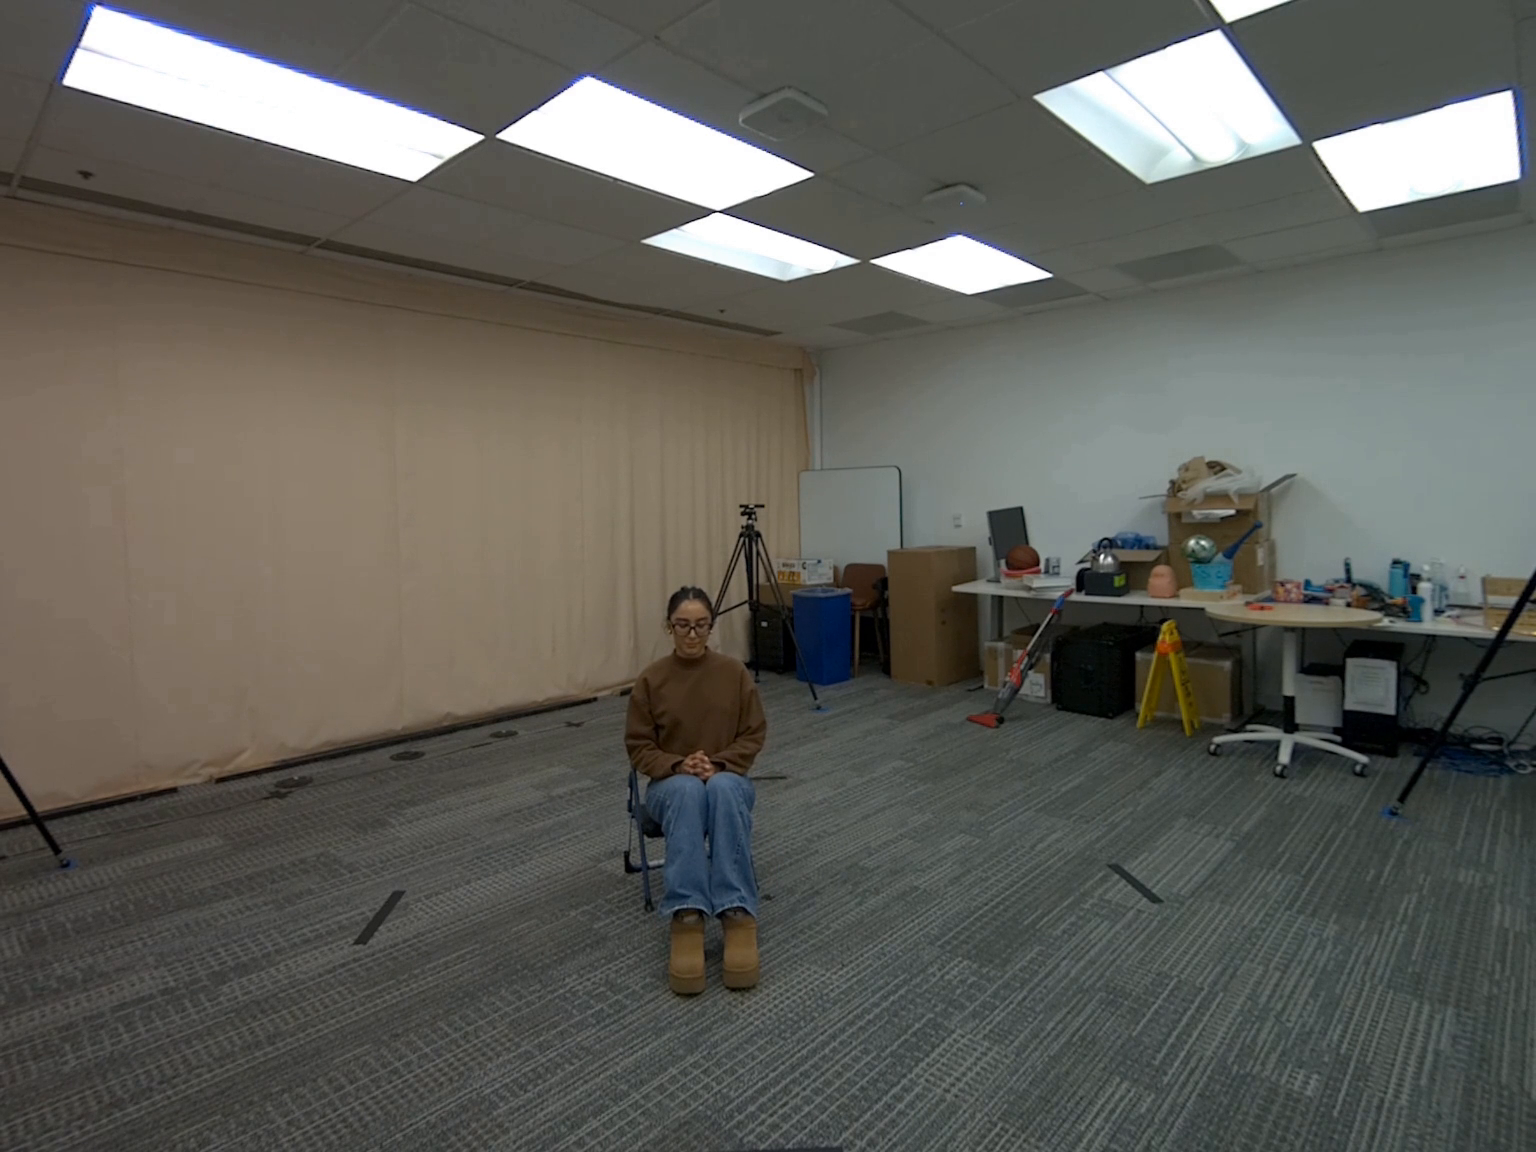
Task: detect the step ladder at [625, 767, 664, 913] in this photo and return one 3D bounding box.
[{"bbox_3d":[-0.298,0.838,3.121,0.421,0.605,0.357,-2,3,-22],"label":"step ladder"}]
